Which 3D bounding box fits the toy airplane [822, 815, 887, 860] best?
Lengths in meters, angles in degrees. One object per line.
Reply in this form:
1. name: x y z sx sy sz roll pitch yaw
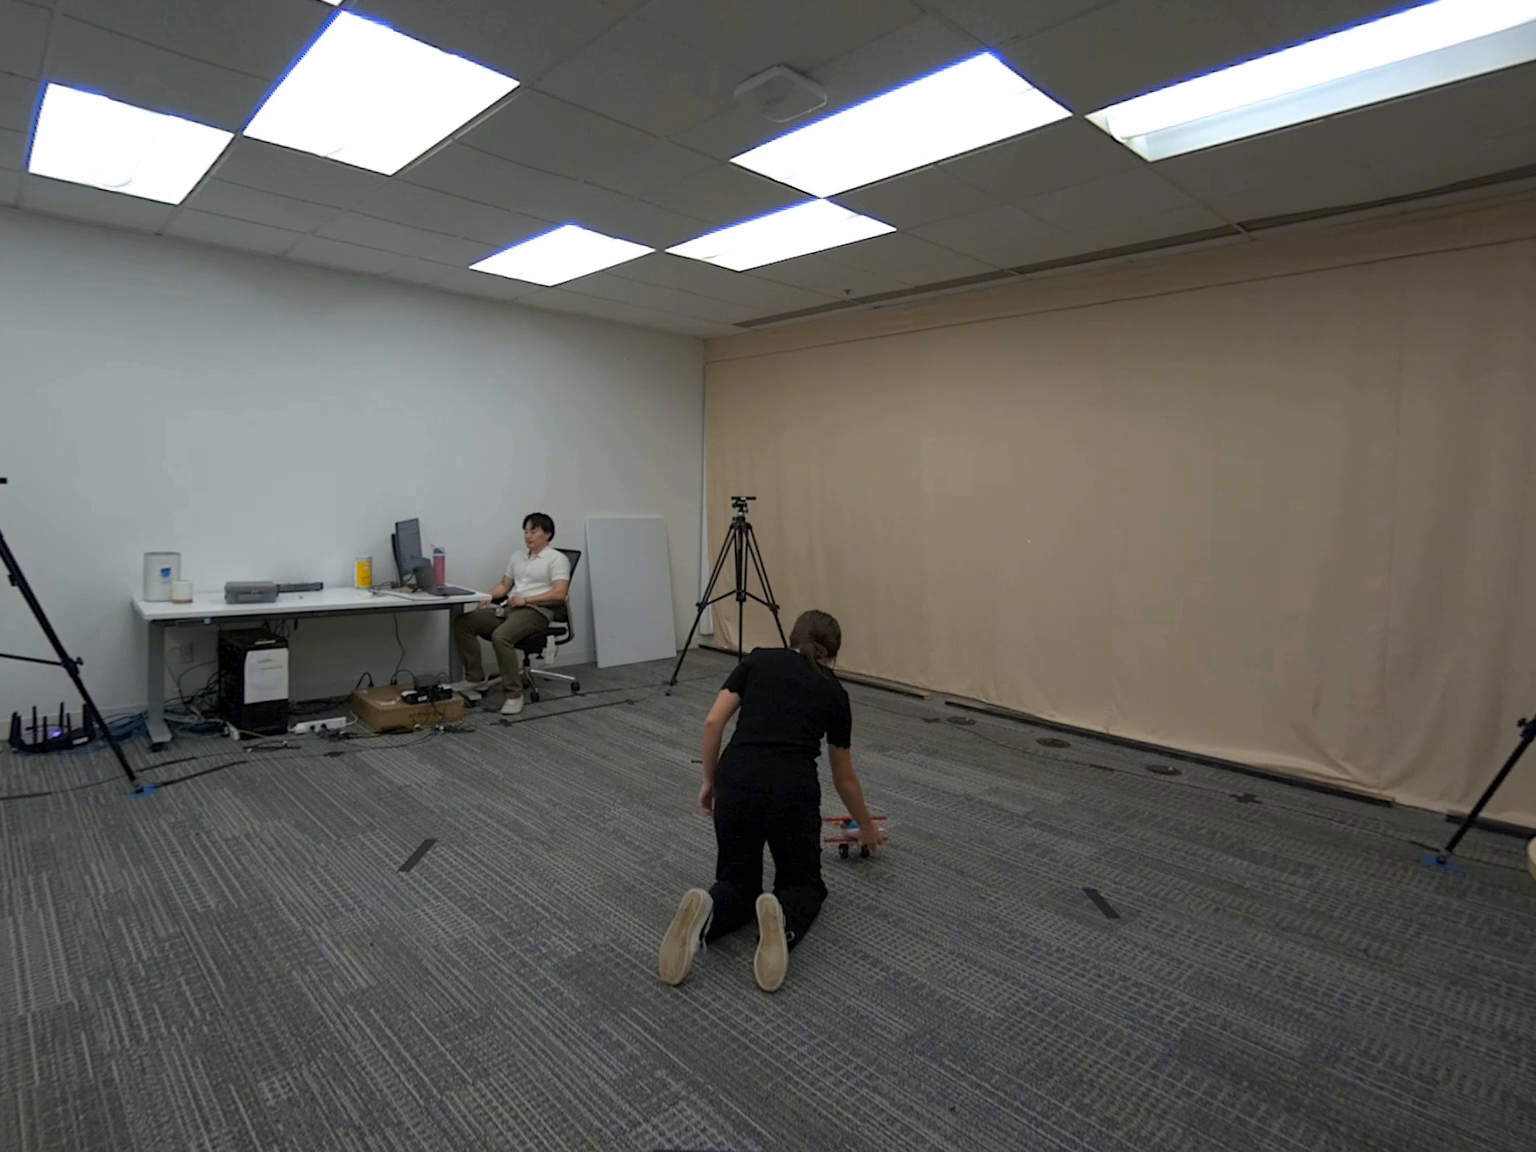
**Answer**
1. toy airplane: 0.357 0.990 3.254 0.244 0.160 0.261 19 -39 -35
